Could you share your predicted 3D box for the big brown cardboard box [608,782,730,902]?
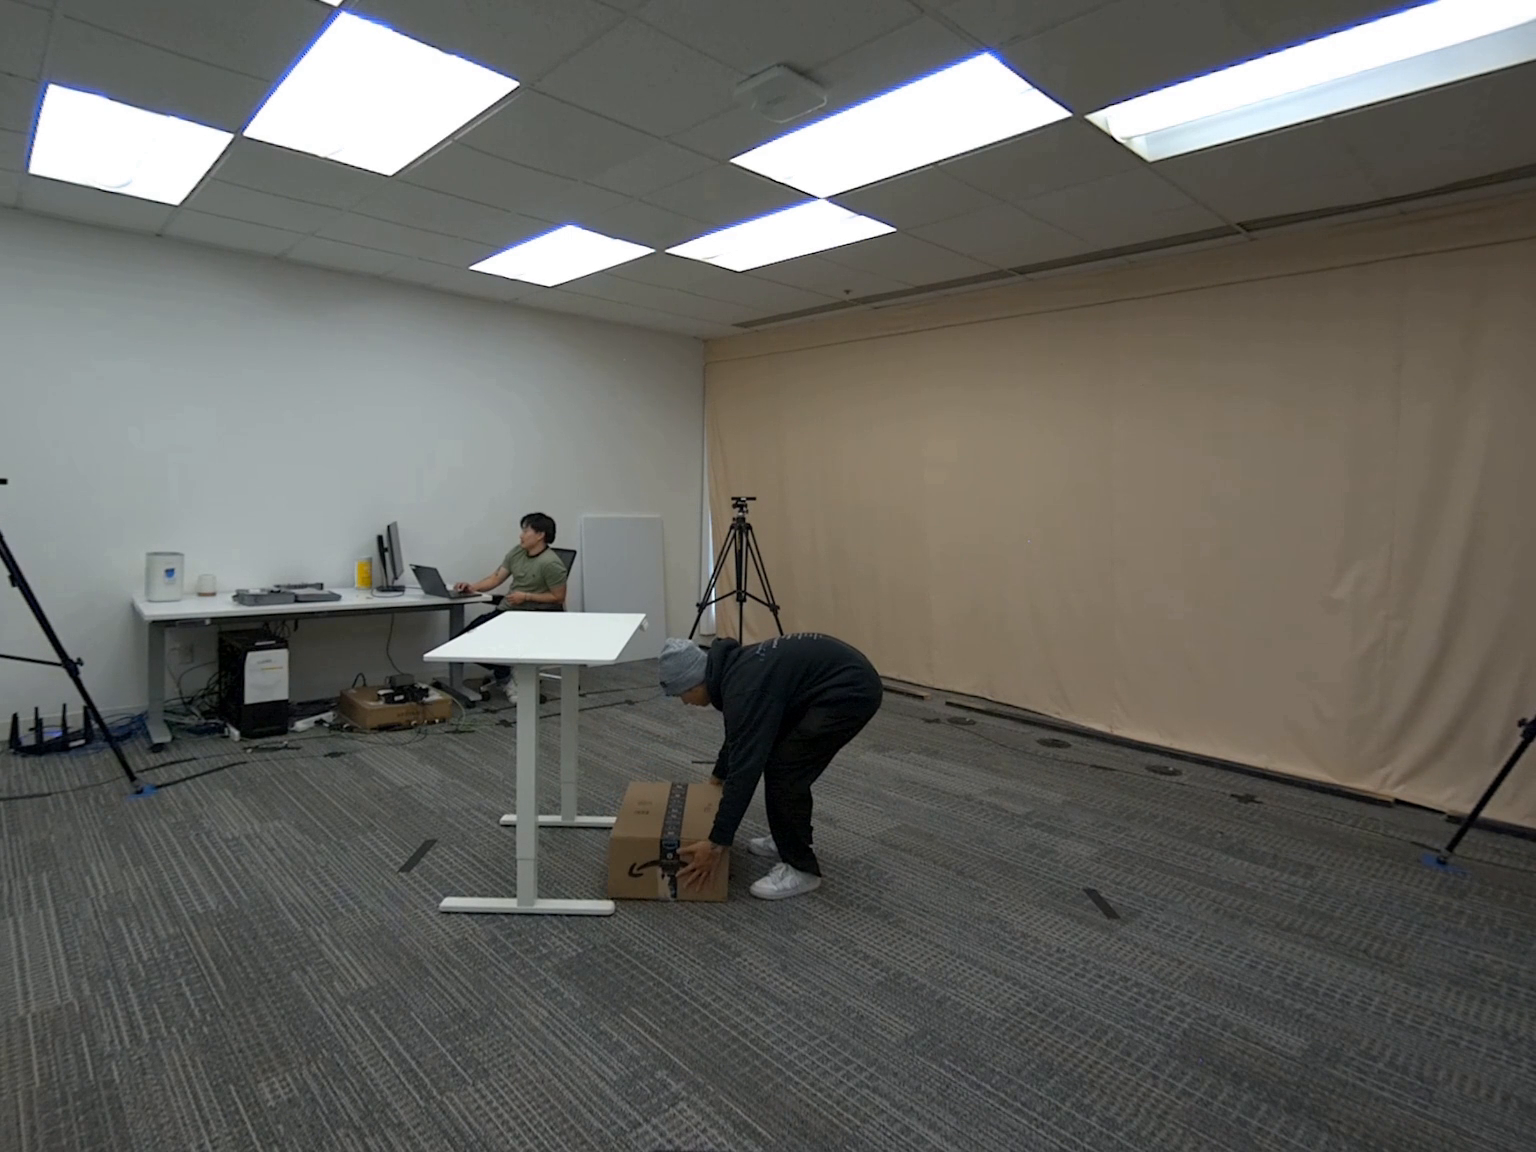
[{"bbox_3d":[-0.358,0.980,3.170,0.417,0.232,0.590,3,4,-1],"label":"big brown cardboard box"}]
